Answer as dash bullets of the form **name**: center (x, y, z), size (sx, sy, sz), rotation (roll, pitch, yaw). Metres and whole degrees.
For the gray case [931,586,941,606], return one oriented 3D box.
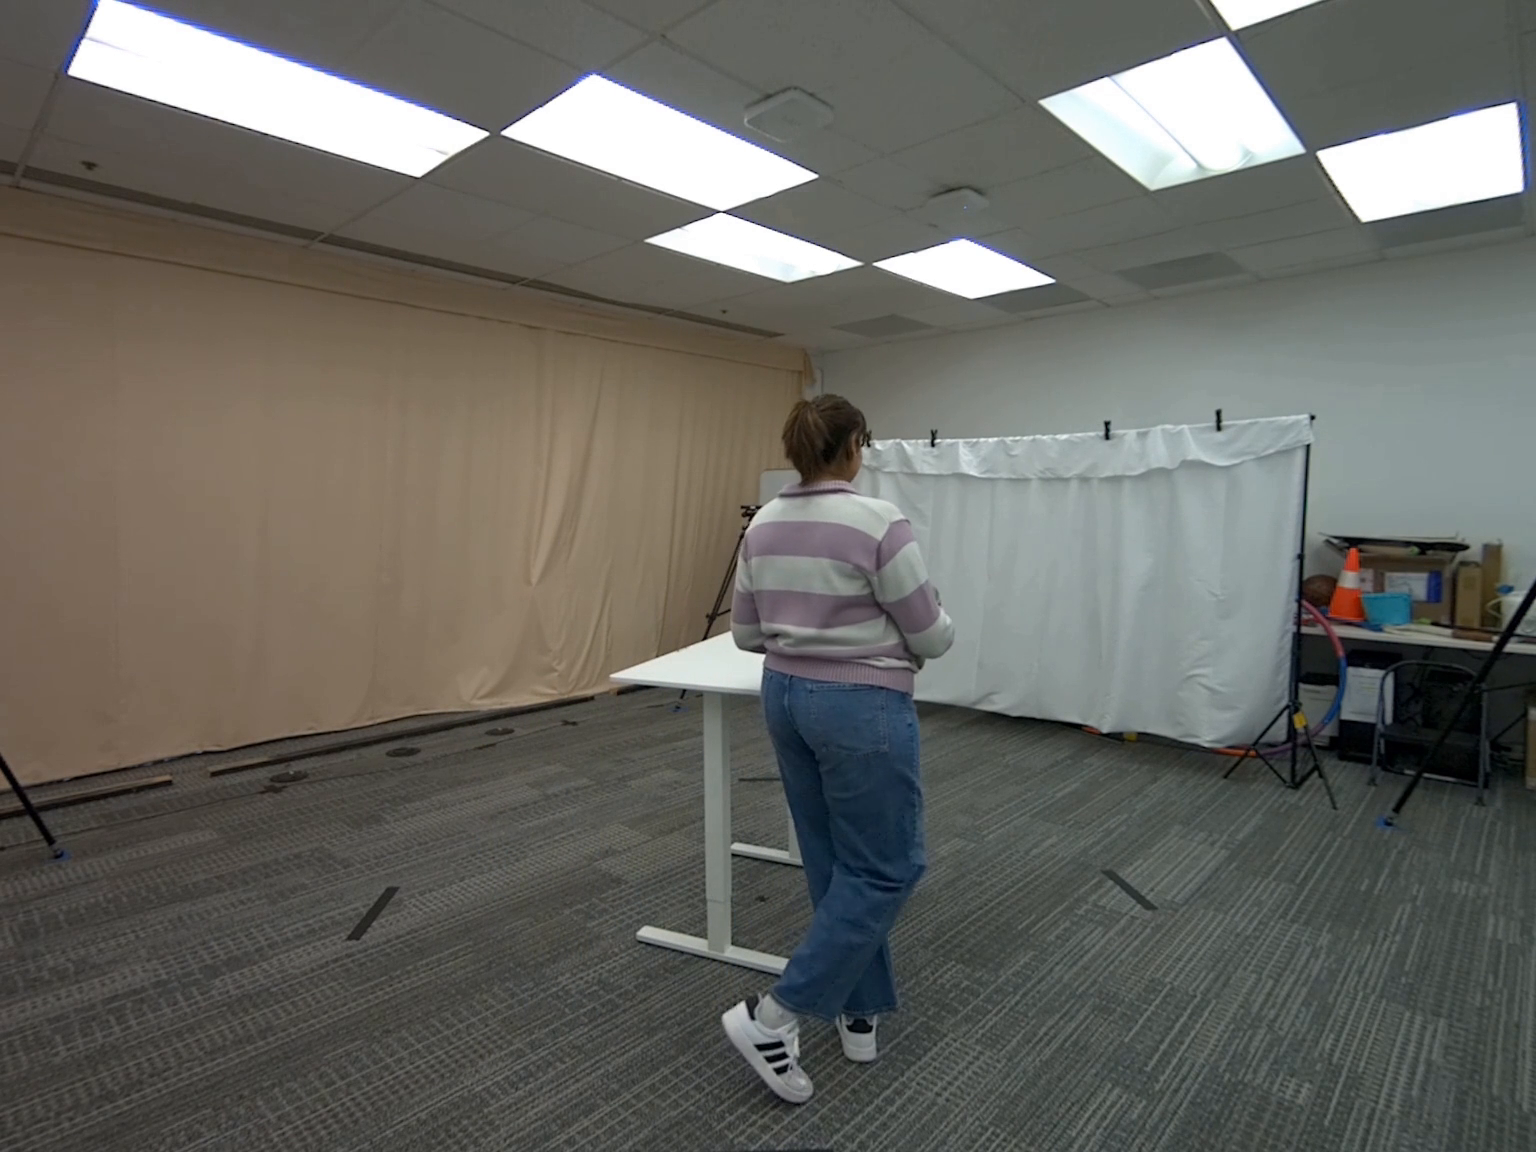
- **gray case**: center (0.347, 0.130, 2.346), size (0.268, 0.101, 0.257), rotation (2, 48, 30)
